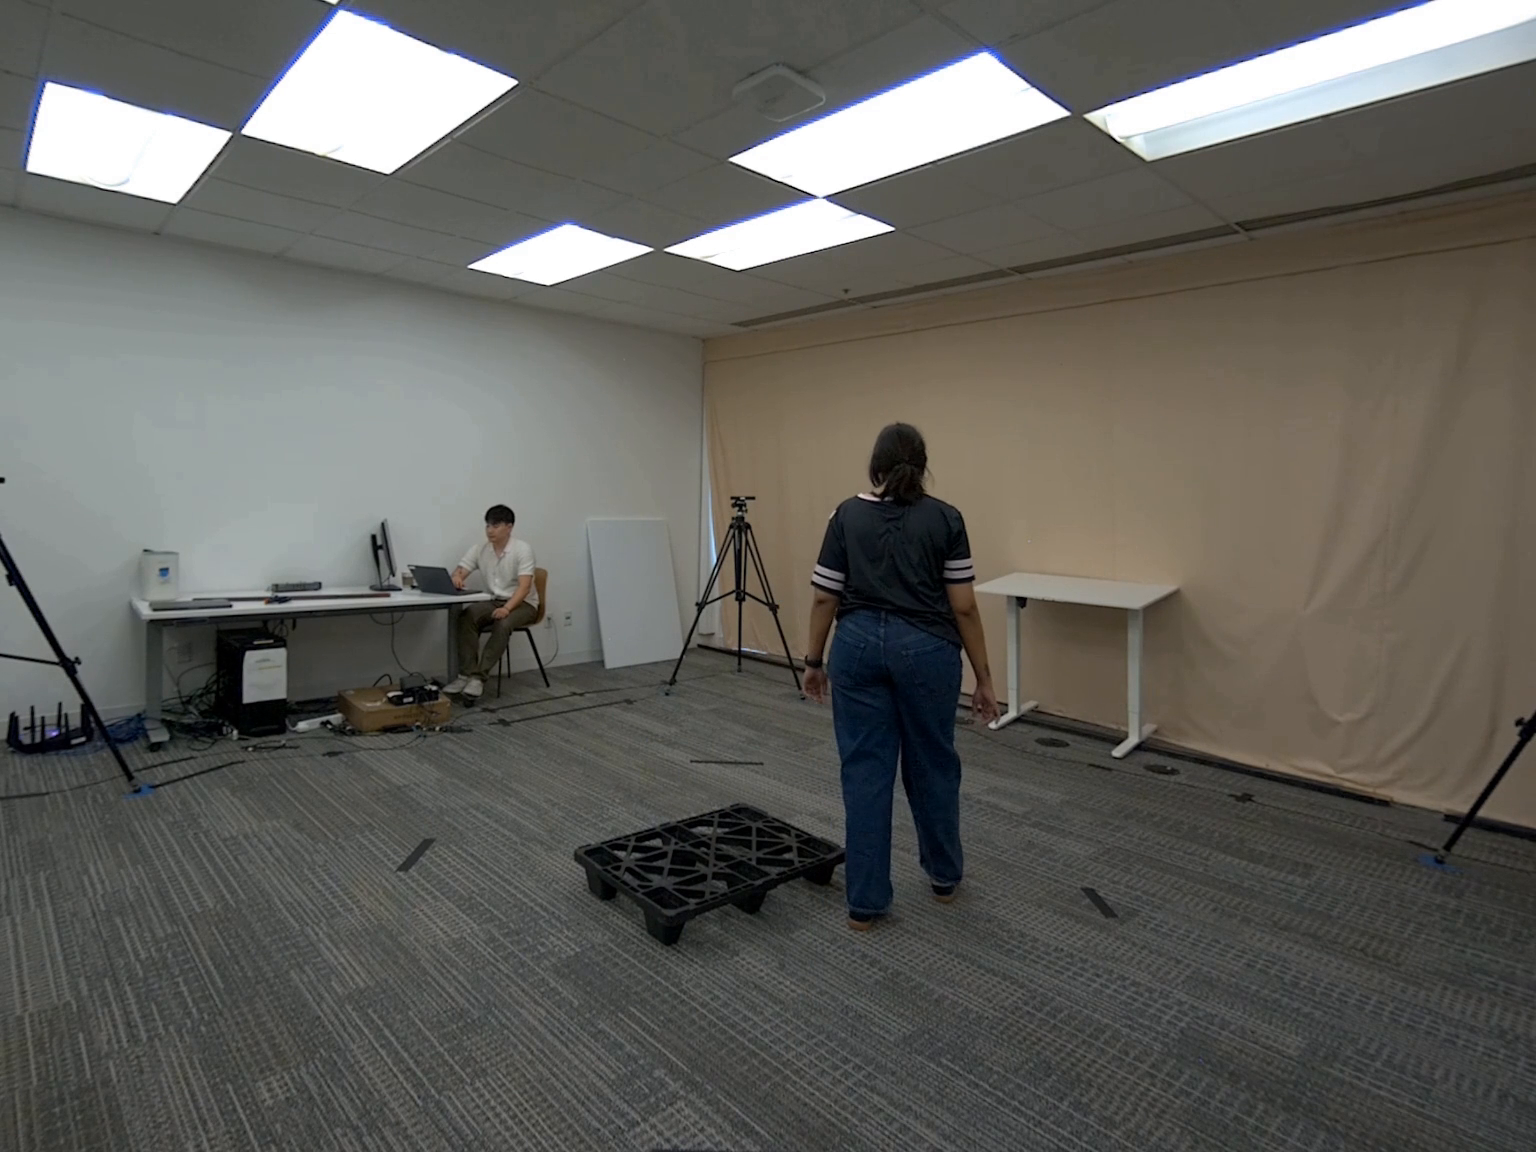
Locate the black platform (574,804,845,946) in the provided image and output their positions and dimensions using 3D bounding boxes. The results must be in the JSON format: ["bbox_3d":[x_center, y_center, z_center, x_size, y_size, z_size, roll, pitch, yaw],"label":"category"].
[{"bbox_3d":[-0.211,1.046,3.008,0.787,0.143,0.620,-3,6,-41],"label":"black platform"}]
